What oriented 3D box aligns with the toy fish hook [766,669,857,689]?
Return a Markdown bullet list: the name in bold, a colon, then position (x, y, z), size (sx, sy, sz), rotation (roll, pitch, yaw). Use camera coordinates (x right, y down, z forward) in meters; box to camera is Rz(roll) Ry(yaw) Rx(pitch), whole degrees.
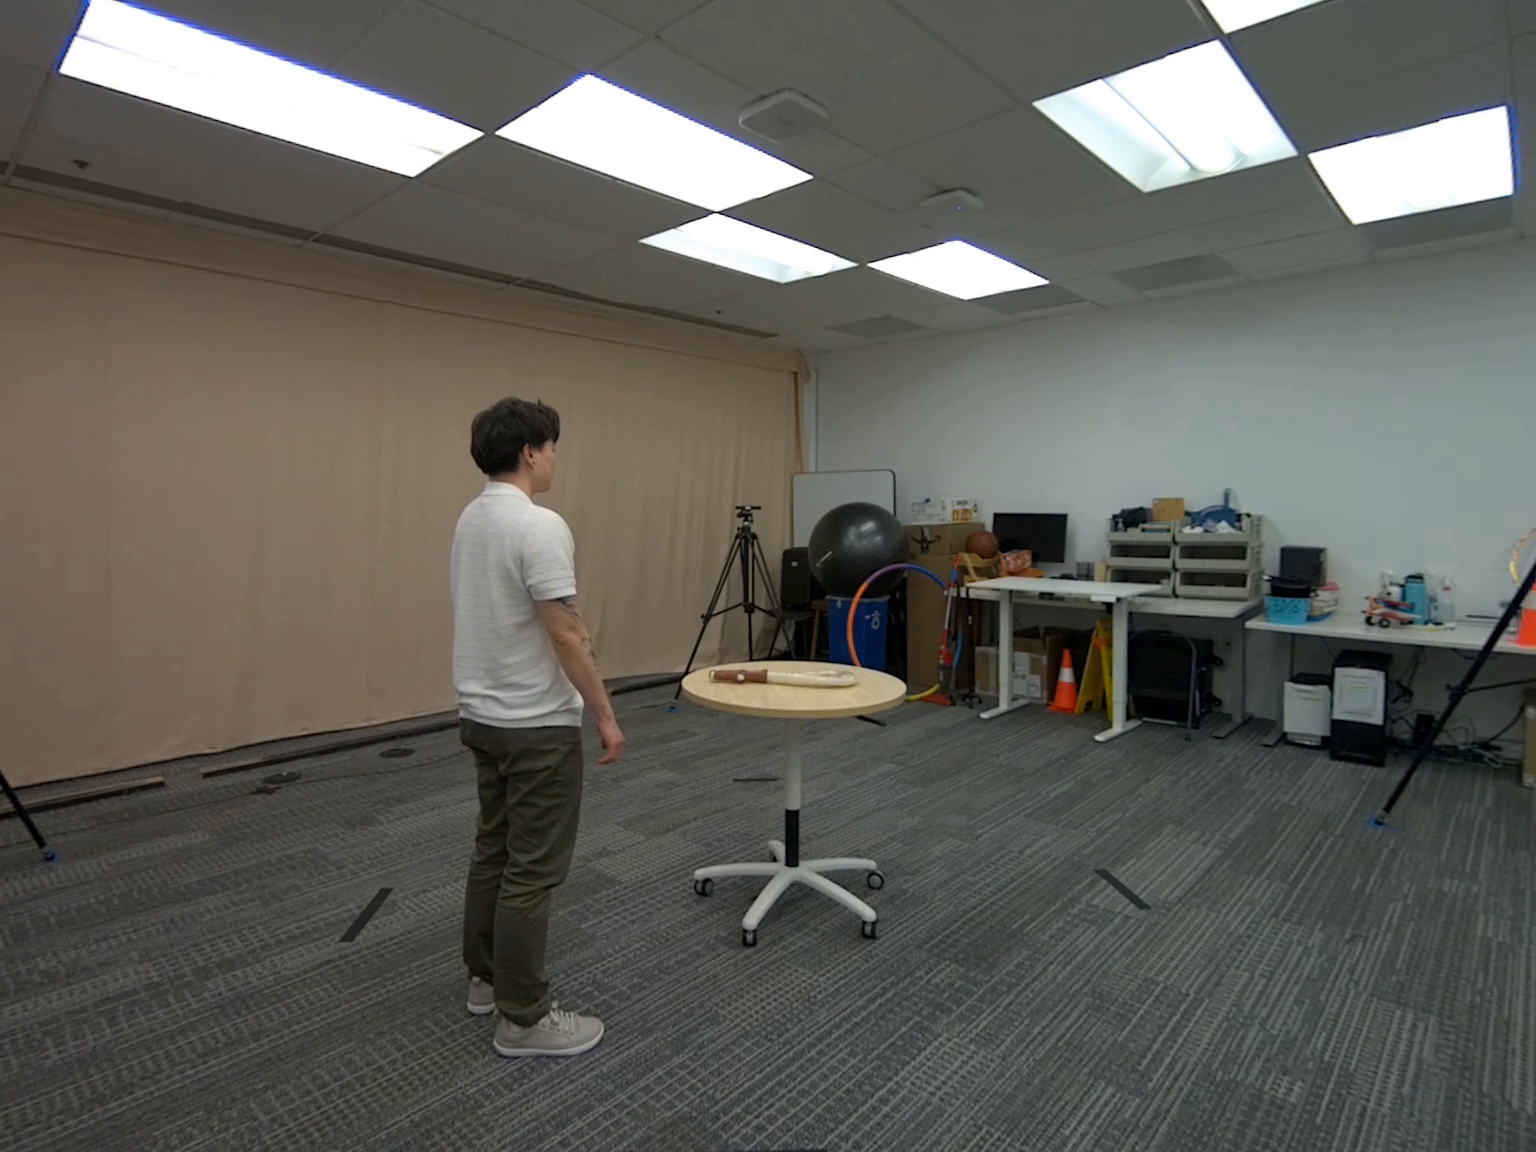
- **toy fish hook**: position (0.058, 0.350, 2.929), size (0.510, 0.048, 0.222), rotation (2, -3, 6)
